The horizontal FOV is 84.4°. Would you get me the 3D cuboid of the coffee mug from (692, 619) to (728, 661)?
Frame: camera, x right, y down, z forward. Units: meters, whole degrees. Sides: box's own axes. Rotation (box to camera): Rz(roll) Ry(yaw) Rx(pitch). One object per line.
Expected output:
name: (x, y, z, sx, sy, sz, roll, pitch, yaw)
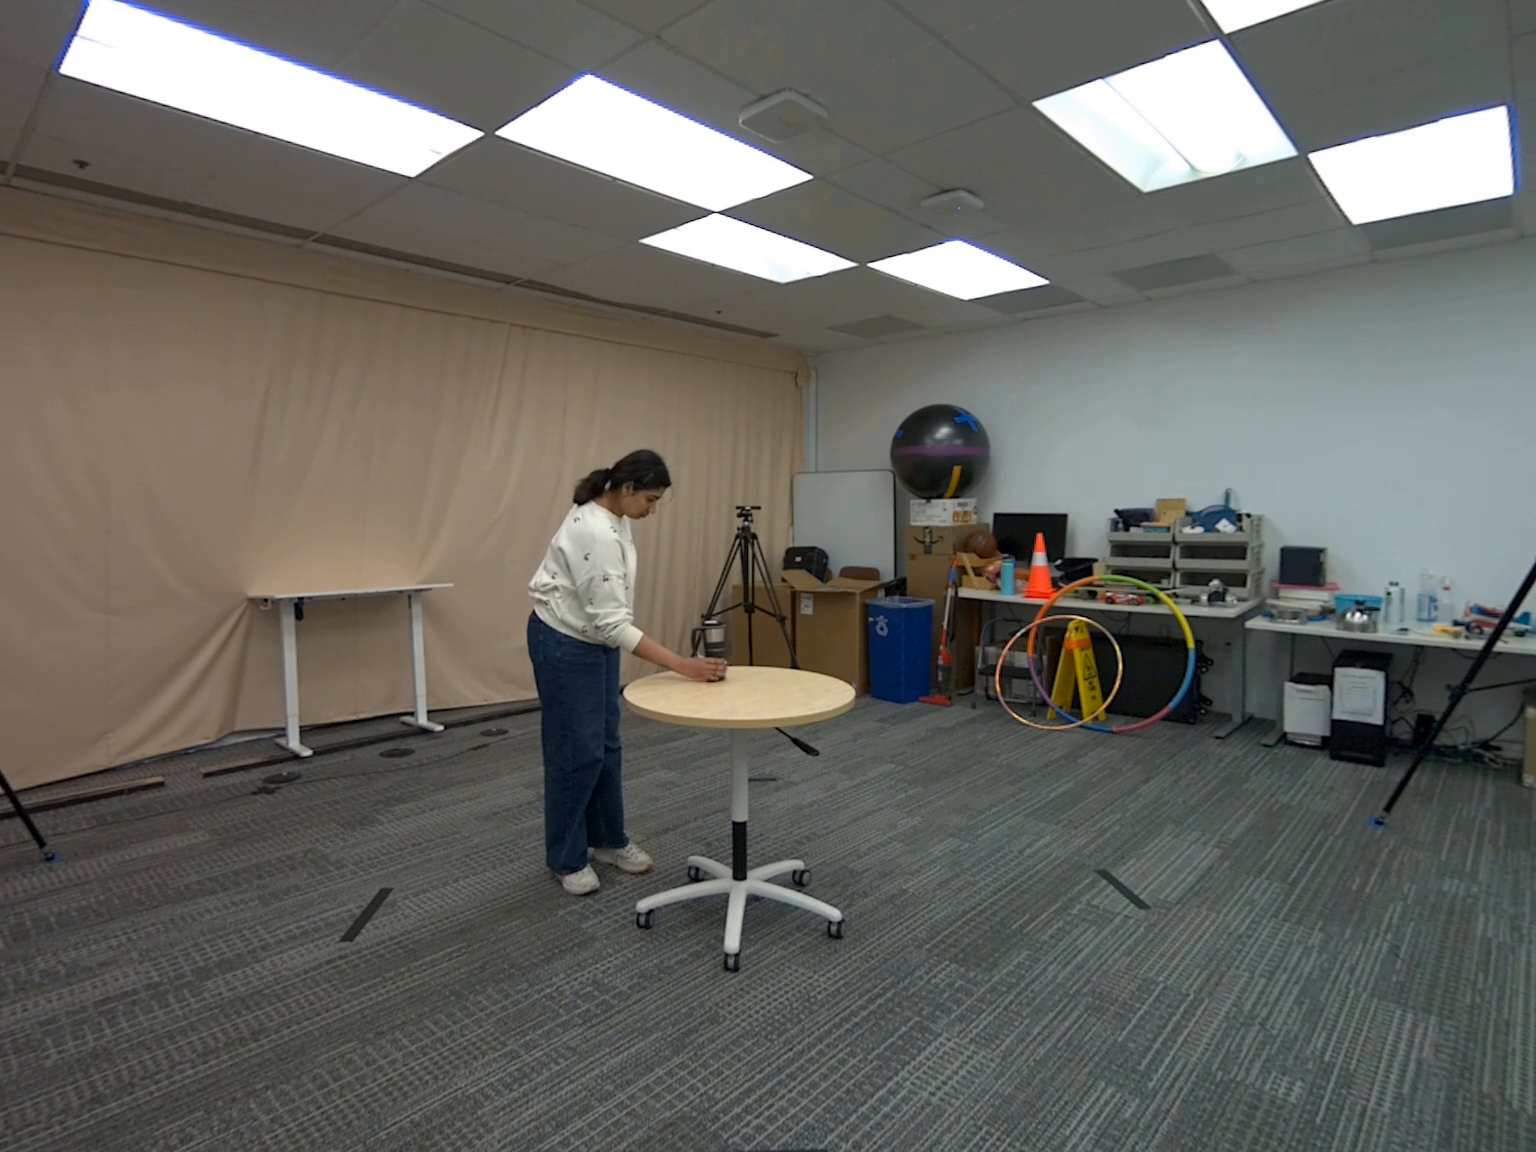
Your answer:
coffee mug: (-0.164, 0.258, 2.925, 0.121, 0.203, 0.088, -9, 1, -5)
